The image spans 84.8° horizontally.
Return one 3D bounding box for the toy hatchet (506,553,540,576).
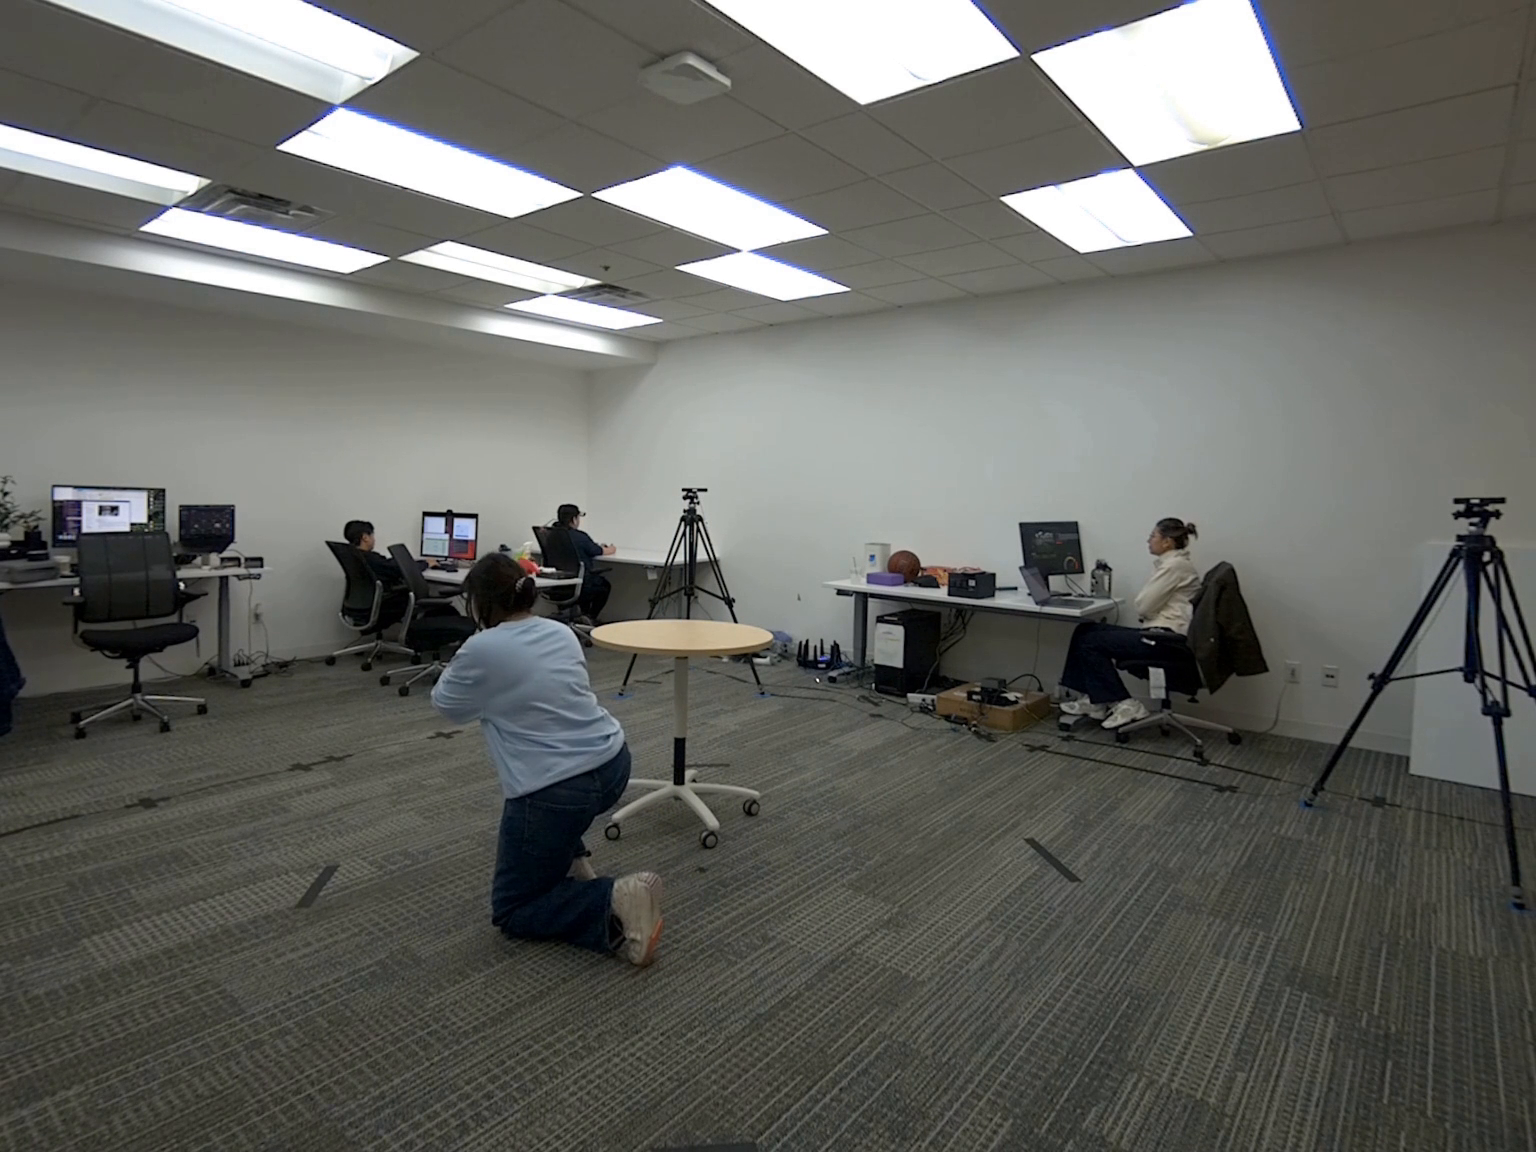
[{"bbox_3d":[-0.899,0.056,2.941,0.028,0.270,0.136,30,16,-50],"label":"toy hatchet"}]
